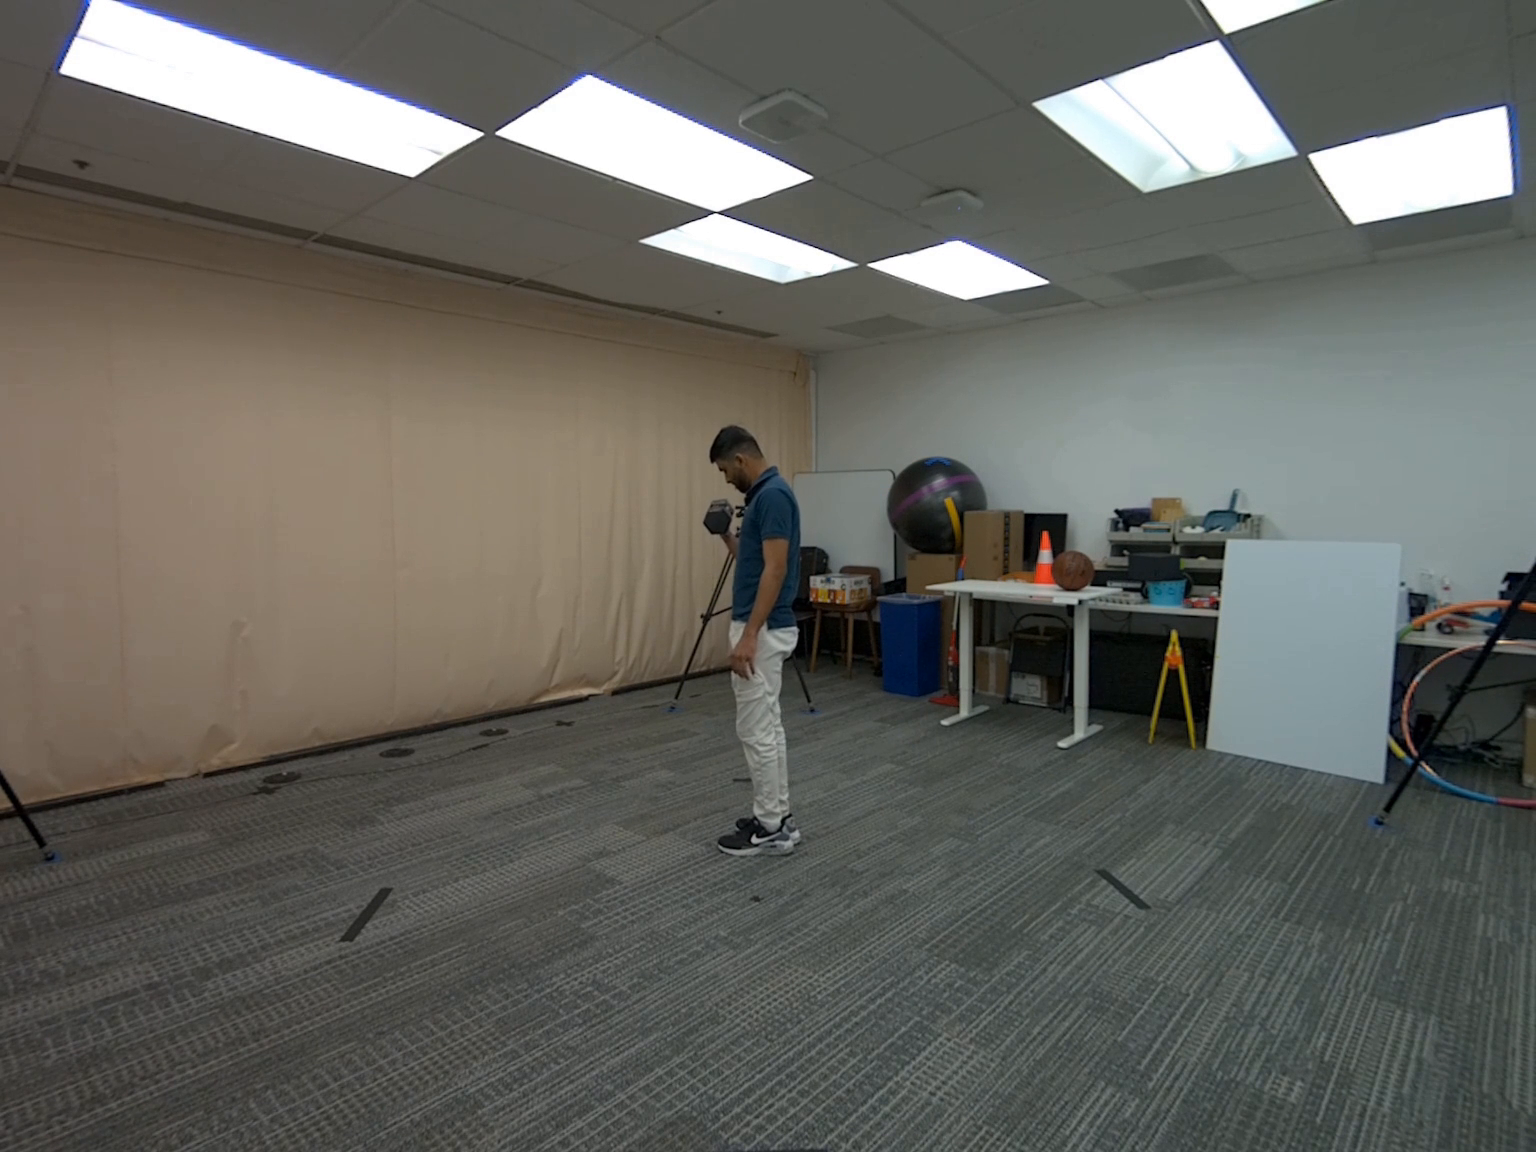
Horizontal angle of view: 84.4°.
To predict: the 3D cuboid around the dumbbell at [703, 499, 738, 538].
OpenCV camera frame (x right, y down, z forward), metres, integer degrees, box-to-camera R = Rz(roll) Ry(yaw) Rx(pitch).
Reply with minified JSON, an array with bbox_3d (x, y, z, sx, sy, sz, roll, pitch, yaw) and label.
[{"bbox_3d":[-0.209,-0.251,3.600,0.108,0.123,0.295,24,11,-5],"label":"dumbbell"}]
